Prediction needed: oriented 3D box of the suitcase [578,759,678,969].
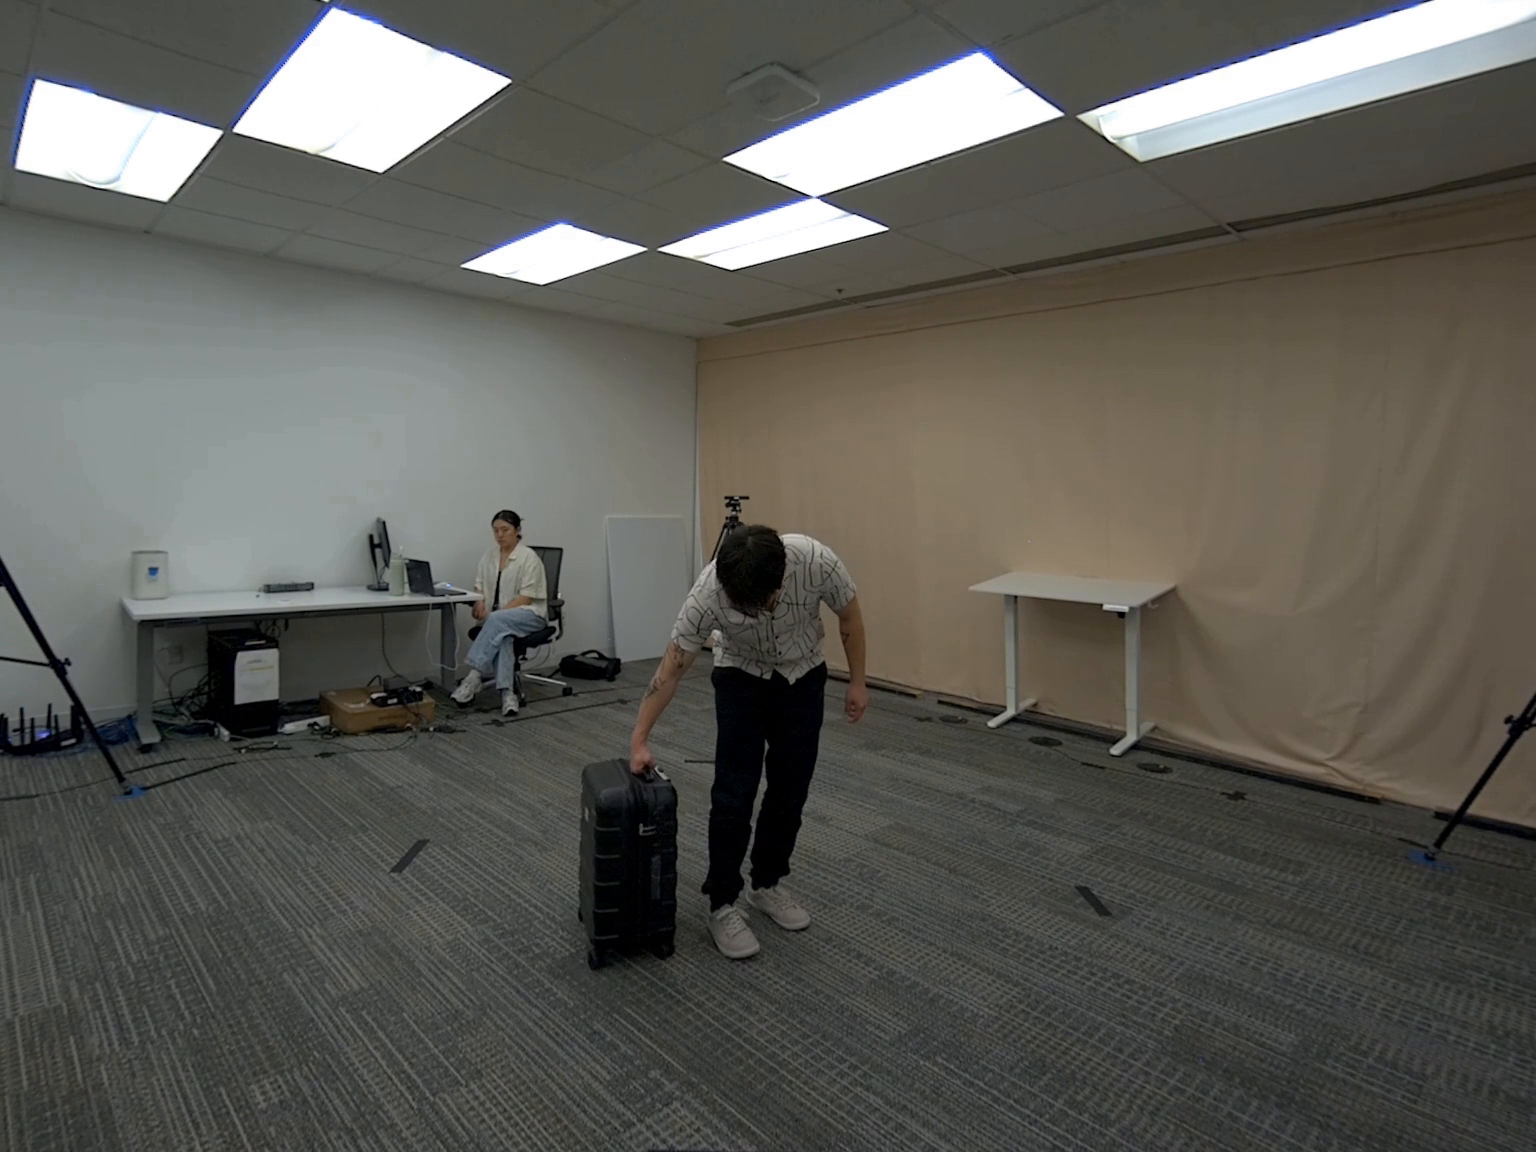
[{"bbox_3d":[-0.440,0.864,2.616,0.245,0.548,0.382,1,5,-18],"label":"suitcase"}]
